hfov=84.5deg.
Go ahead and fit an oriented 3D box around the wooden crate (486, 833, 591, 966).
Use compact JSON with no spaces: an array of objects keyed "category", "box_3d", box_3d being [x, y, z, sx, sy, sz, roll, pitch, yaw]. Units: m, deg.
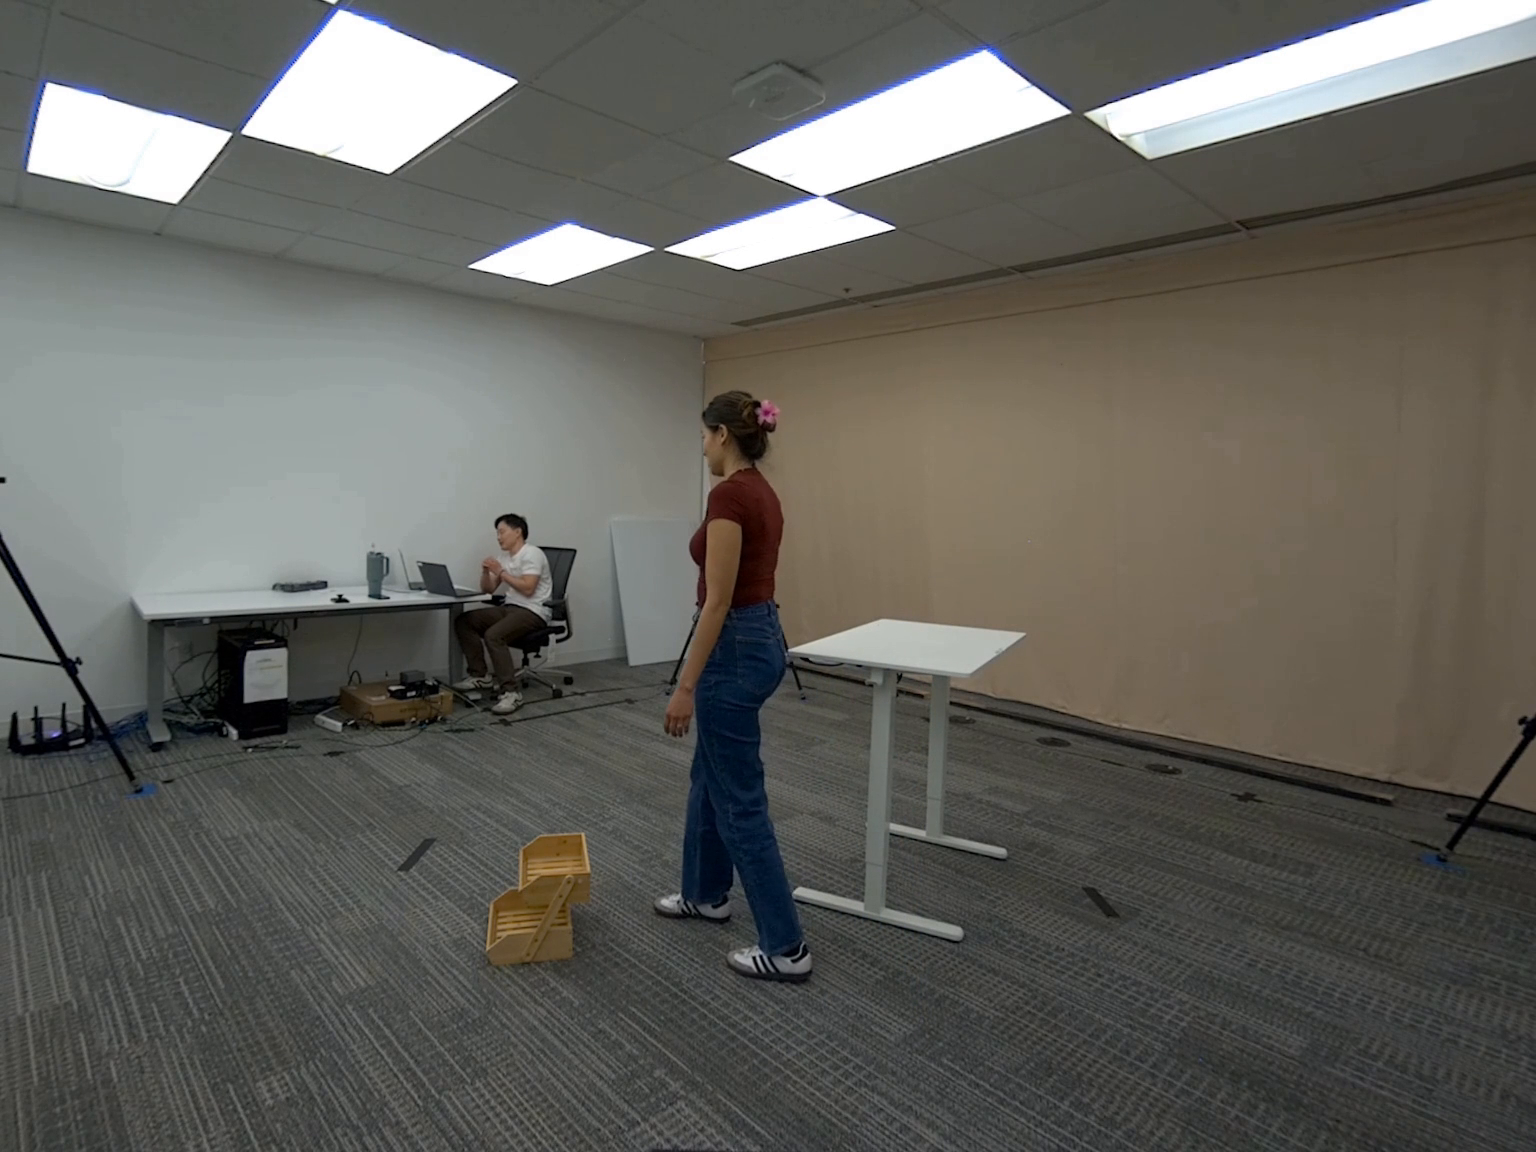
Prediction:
[{"category":"wooden crate","box_3d":[-0.723,1.000,2.647,0.299,0.272,0.329,2,4,-14]}]
